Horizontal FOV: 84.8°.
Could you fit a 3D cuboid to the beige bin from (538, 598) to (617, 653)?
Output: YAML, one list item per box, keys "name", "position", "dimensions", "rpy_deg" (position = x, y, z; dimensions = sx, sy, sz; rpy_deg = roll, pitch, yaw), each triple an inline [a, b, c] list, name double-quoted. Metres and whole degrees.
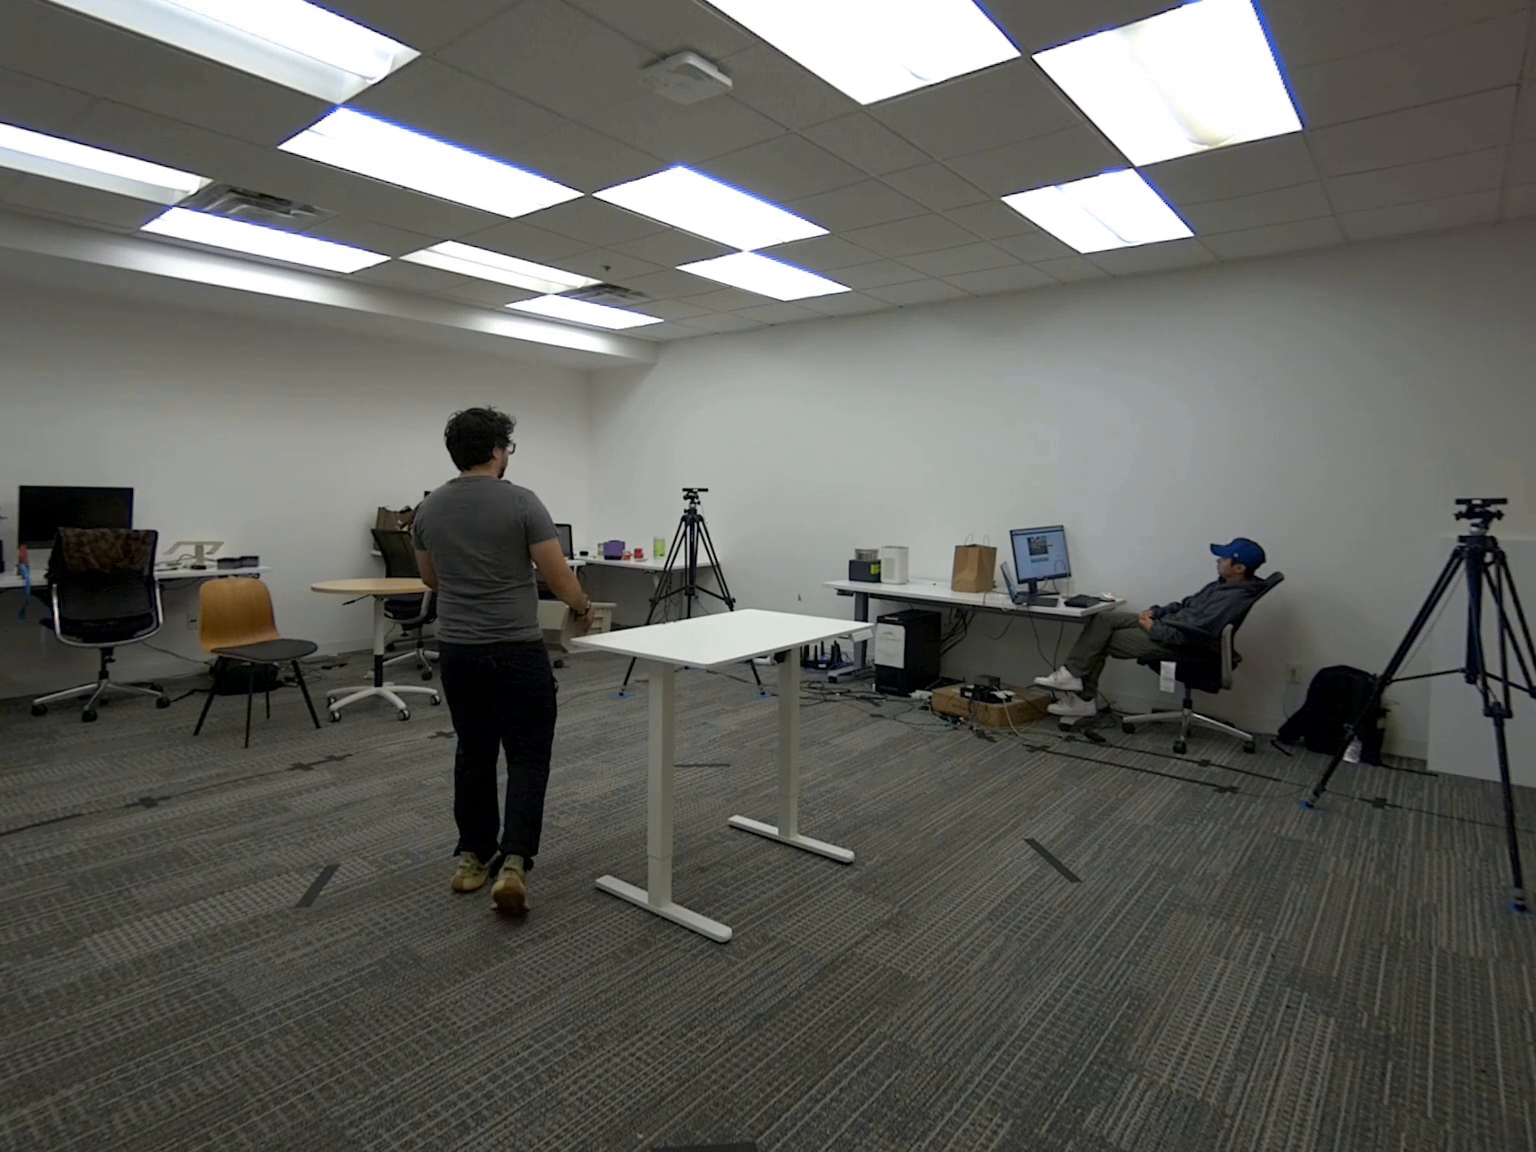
- name: "beige bin"
  position: [-0.872, 0.188, 3.264]
  dimensions: [0.432, 0.190, 0.367]
  rpy_deg: [0, -4, 22]
